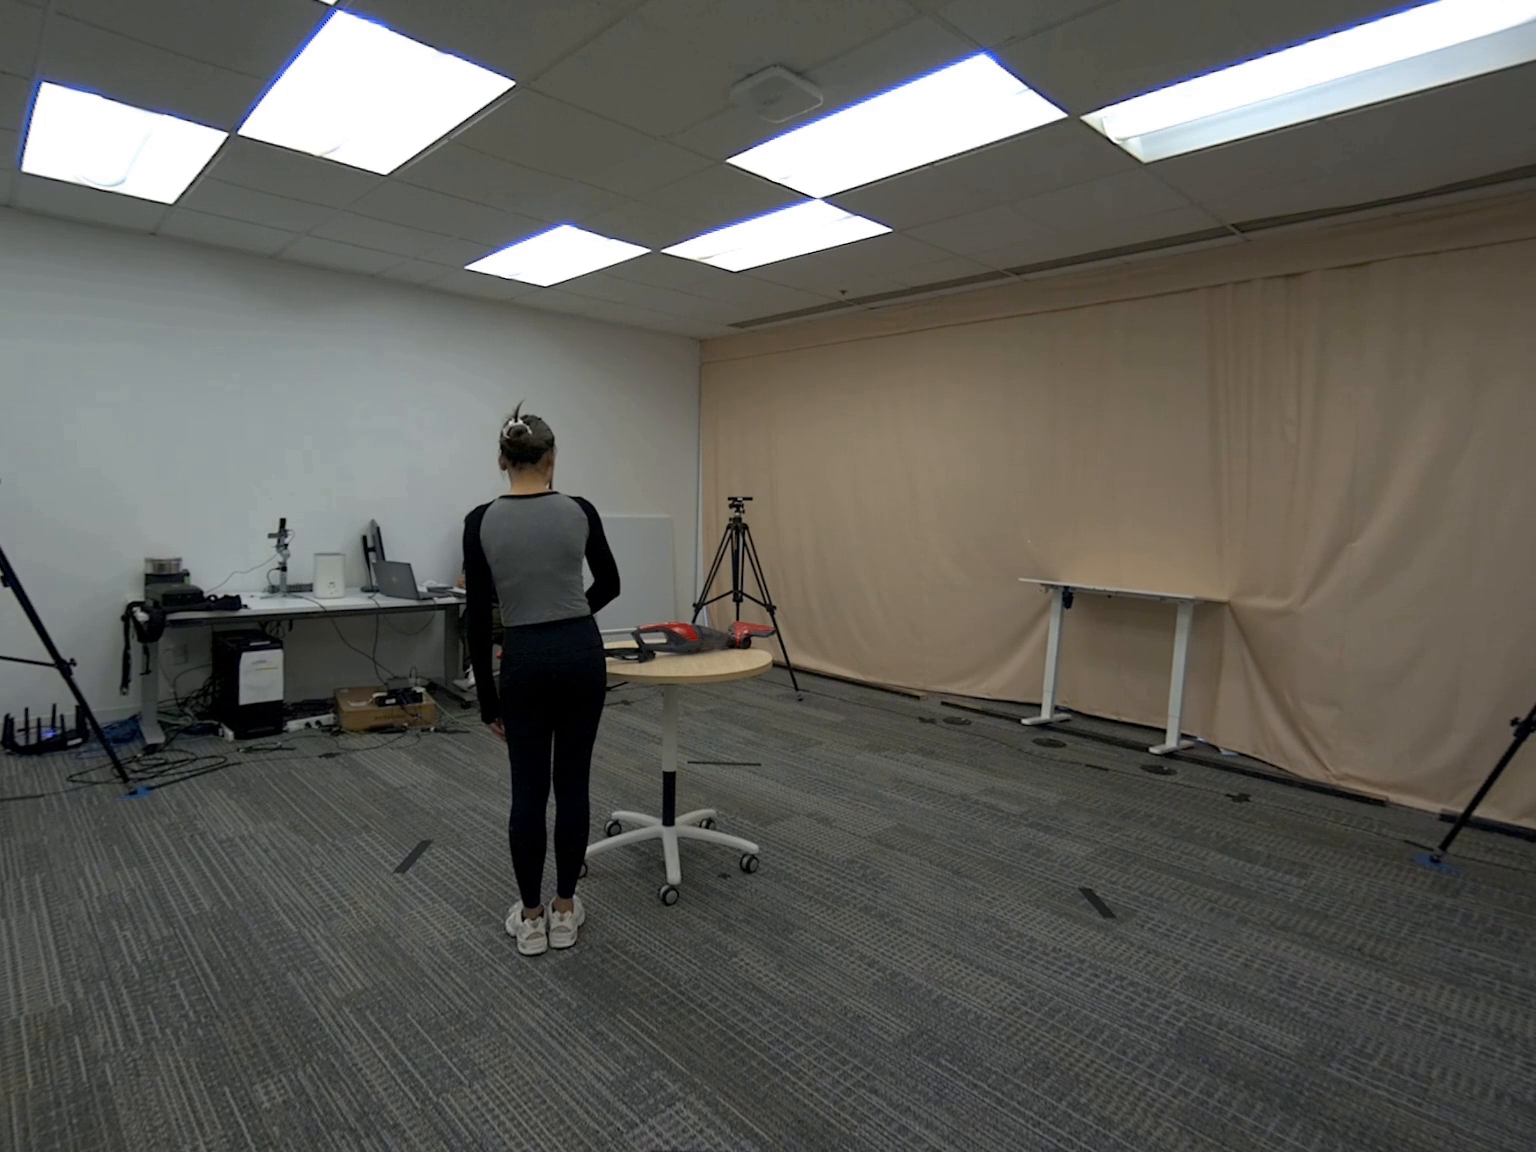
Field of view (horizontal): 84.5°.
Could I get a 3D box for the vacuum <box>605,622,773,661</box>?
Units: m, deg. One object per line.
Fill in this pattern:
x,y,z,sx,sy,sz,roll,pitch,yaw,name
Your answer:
-0.478,0.261,3.104,1.025,0.143,0.259,-1,6,-42,vacuum
